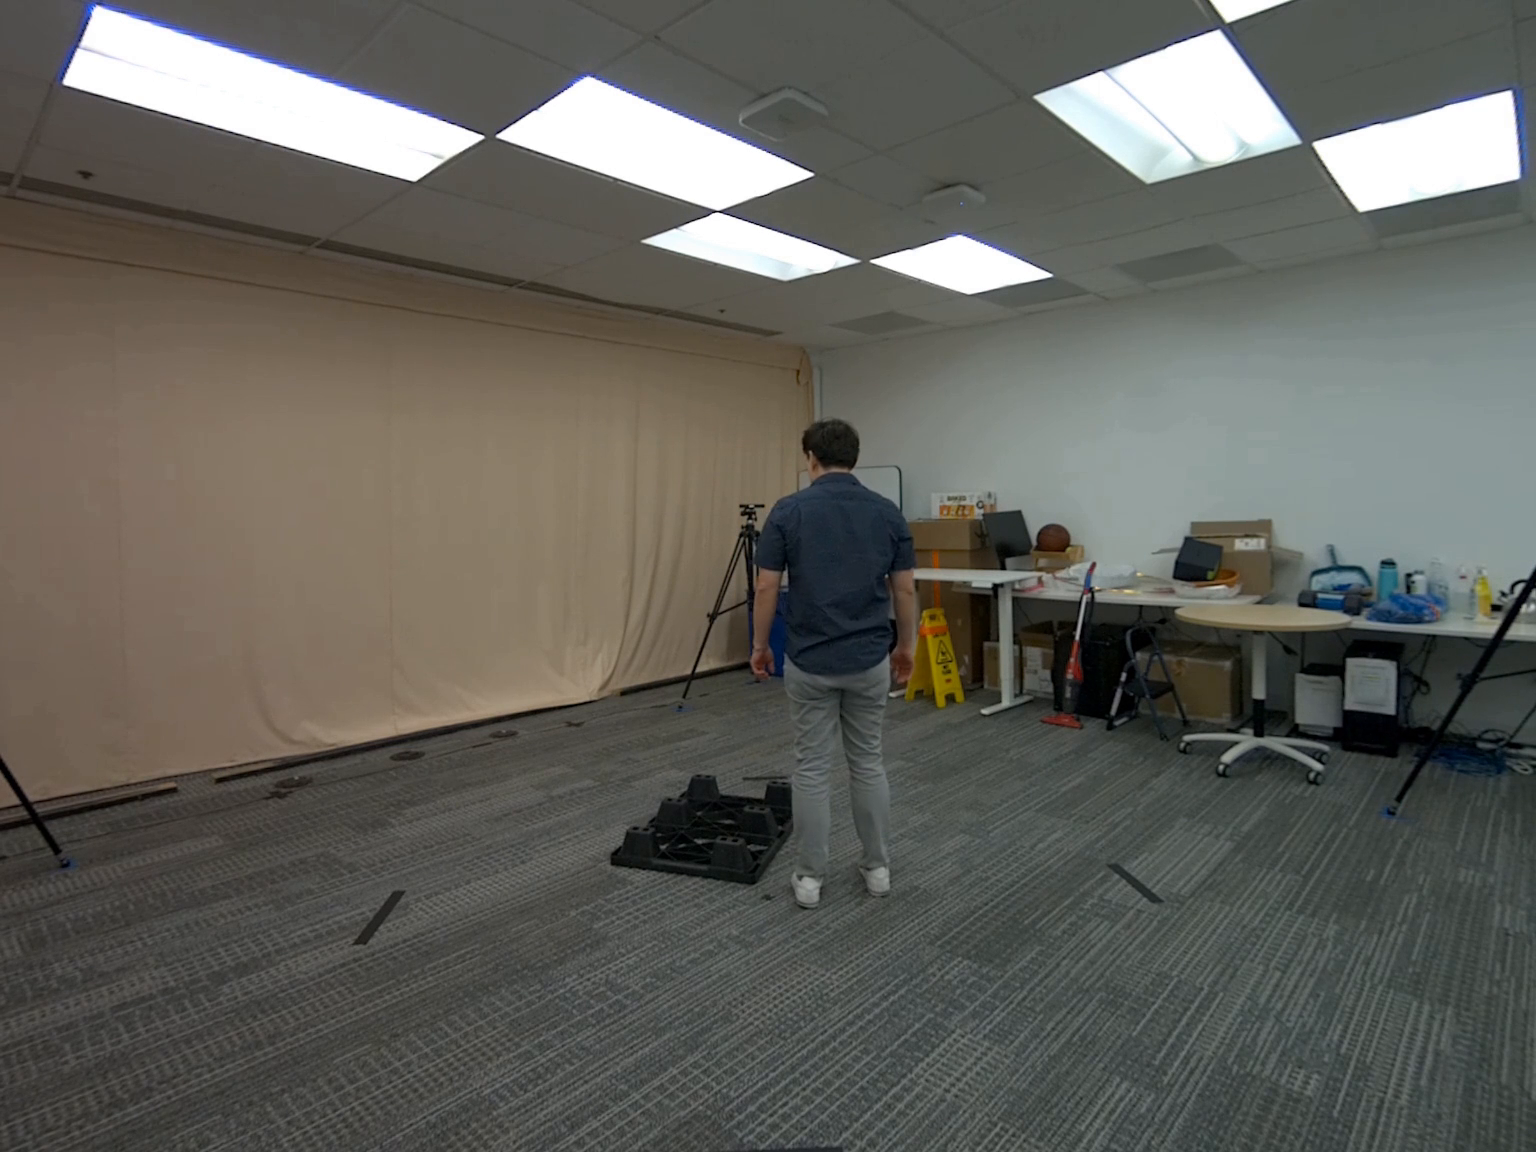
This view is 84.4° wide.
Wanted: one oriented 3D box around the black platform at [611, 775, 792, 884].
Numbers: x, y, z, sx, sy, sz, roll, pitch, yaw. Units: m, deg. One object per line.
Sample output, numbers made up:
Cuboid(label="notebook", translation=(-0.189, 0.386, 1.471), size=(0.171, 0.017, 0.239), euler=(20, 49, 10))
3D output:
Cuboid(label="black platform", translation=(-0.226, 1.031, 3.553), size=(0.617, 0.143, 0.791), euler=(1, 5, 18))
